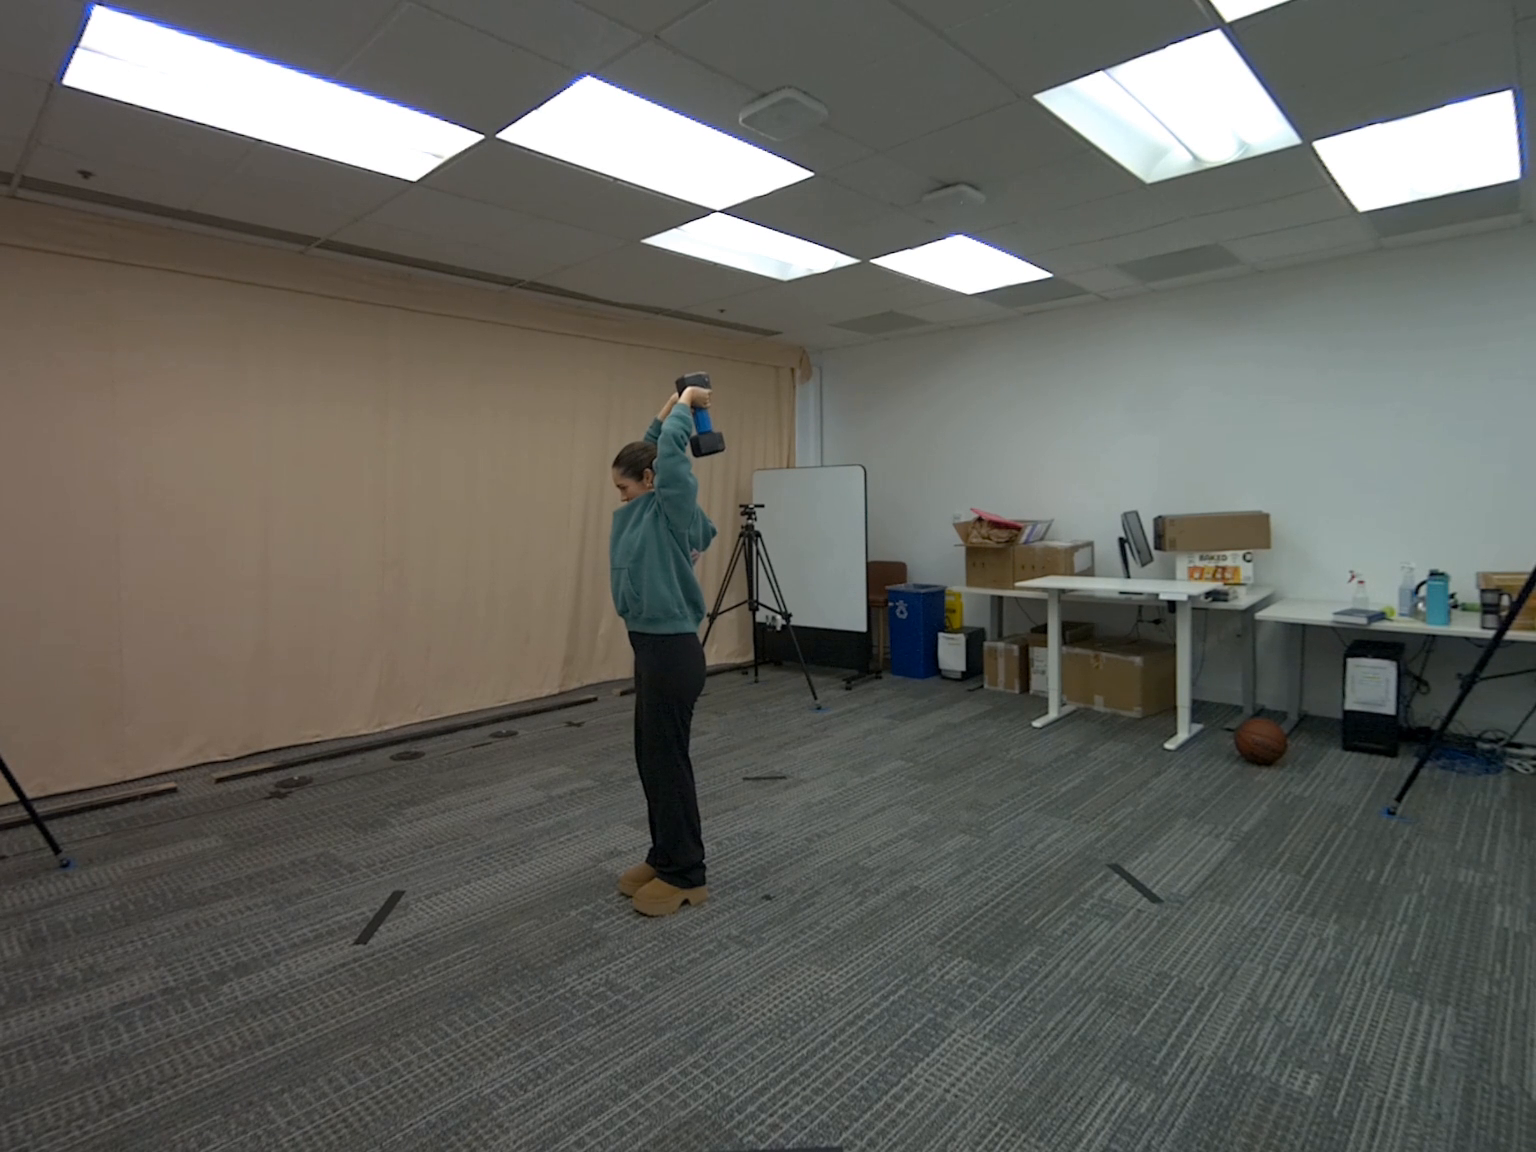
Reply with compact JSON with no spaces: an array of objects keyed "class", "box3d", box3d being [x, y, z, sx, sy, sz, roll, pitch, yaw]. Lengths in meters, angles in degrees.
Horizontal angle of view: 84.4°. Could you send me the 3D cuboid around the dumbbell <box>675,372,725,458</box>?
[{"class":"dumbbell","box3d":[-0.242,-0.576,3.007,0.122,0.292,0.110,-16,5,-11]}]
